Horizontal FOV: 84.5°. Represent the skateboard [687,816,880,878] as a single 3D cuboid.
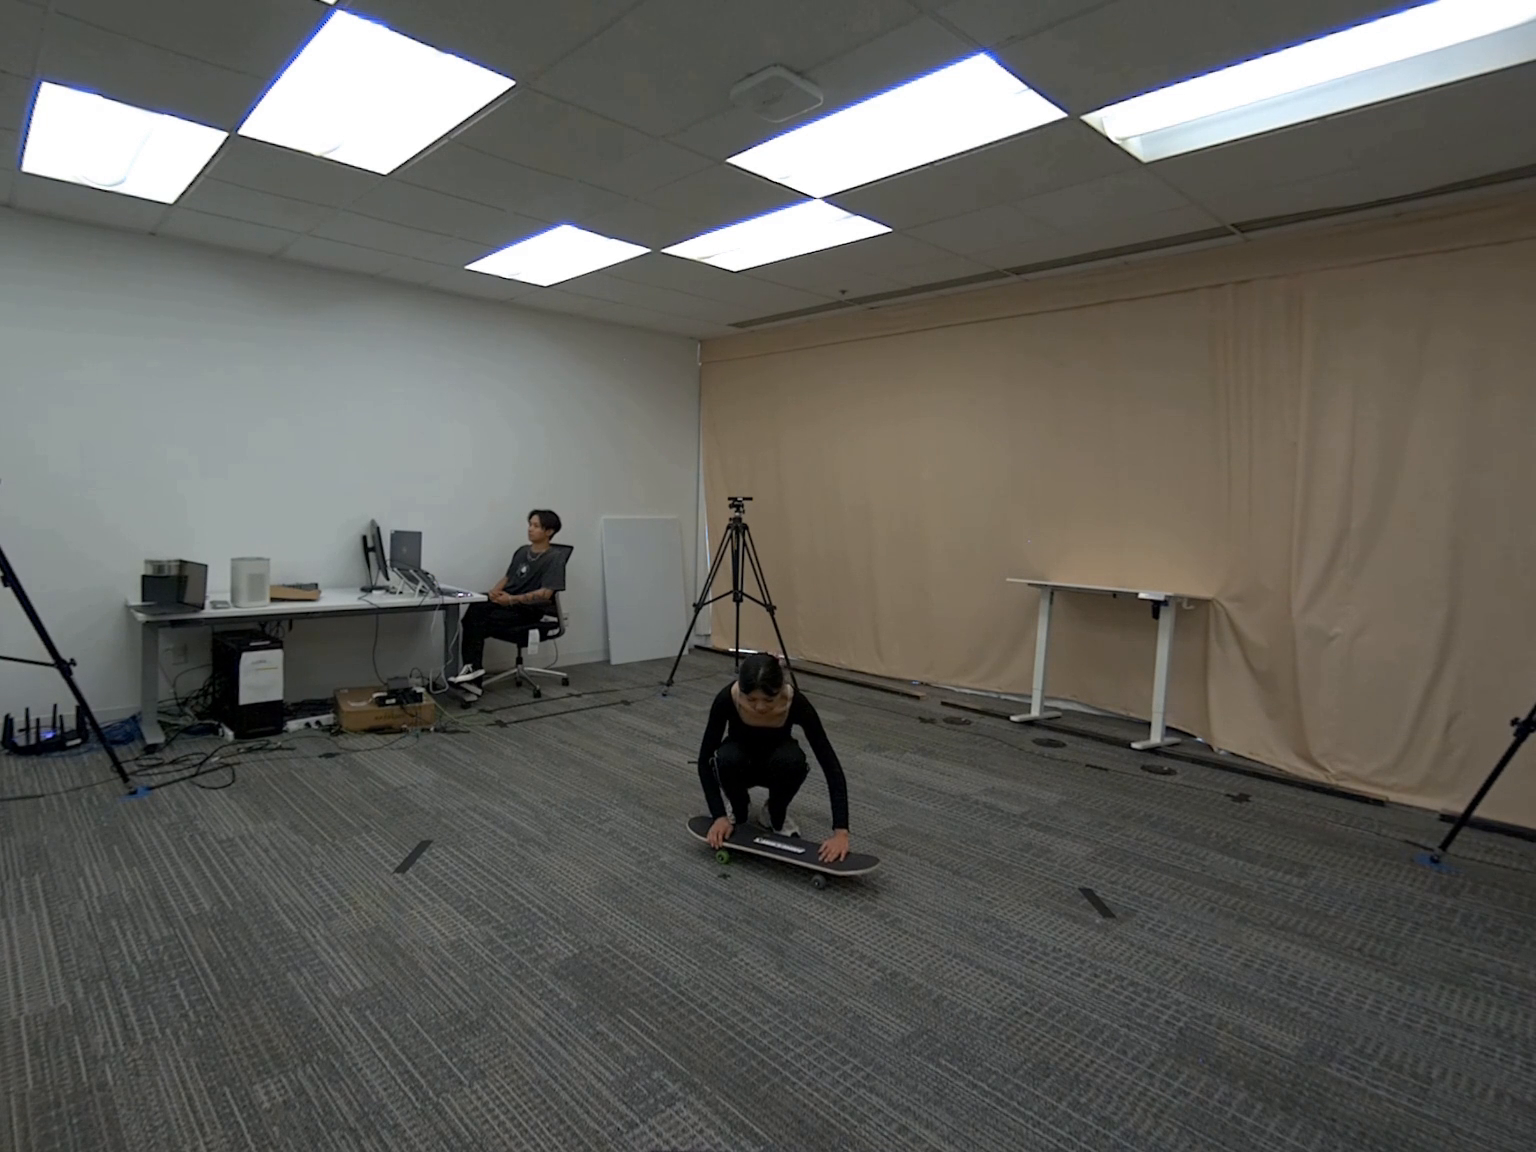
[{"bbox_3d":[0.031,1.043,3.175,0.802,0.110,0.190,4,6,28],"label":"skateboard"}]
